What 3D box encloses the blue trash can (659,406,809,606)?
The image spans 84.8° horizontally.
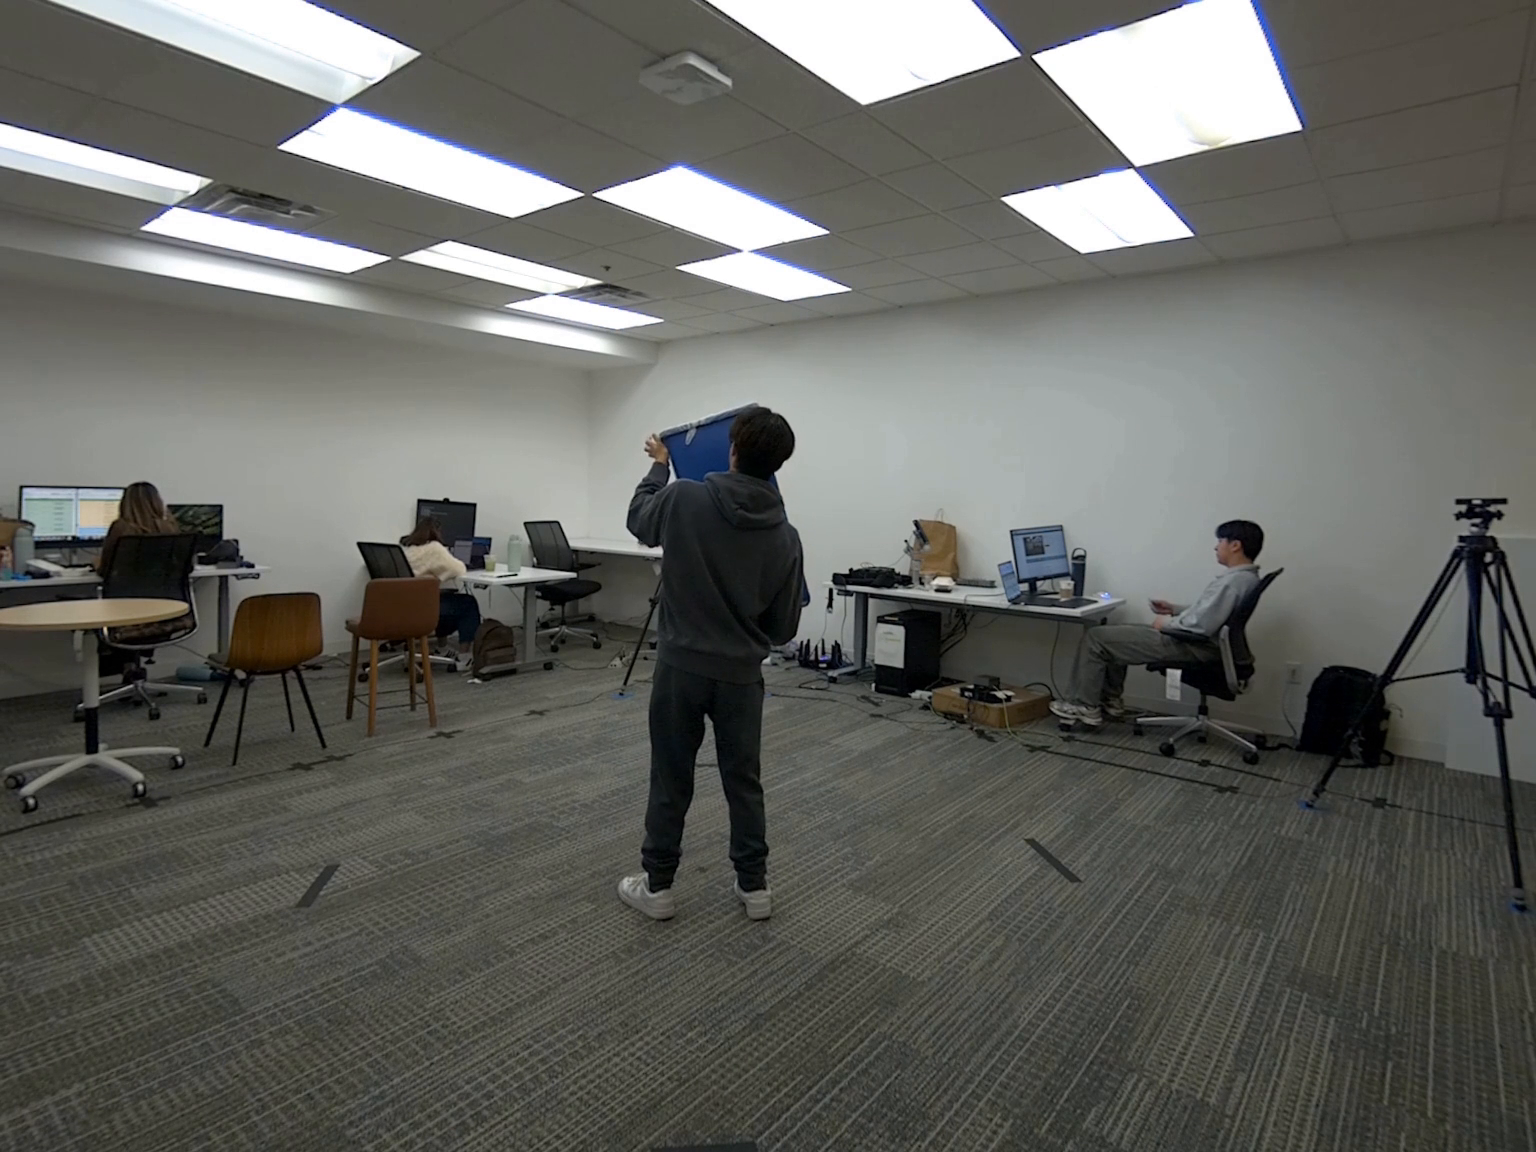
[{"bbox_3d":[-0.115,-0.210,3.087,0.378,0.721,0.371,-16,-8,-2],"label":"blue trash can"}]
